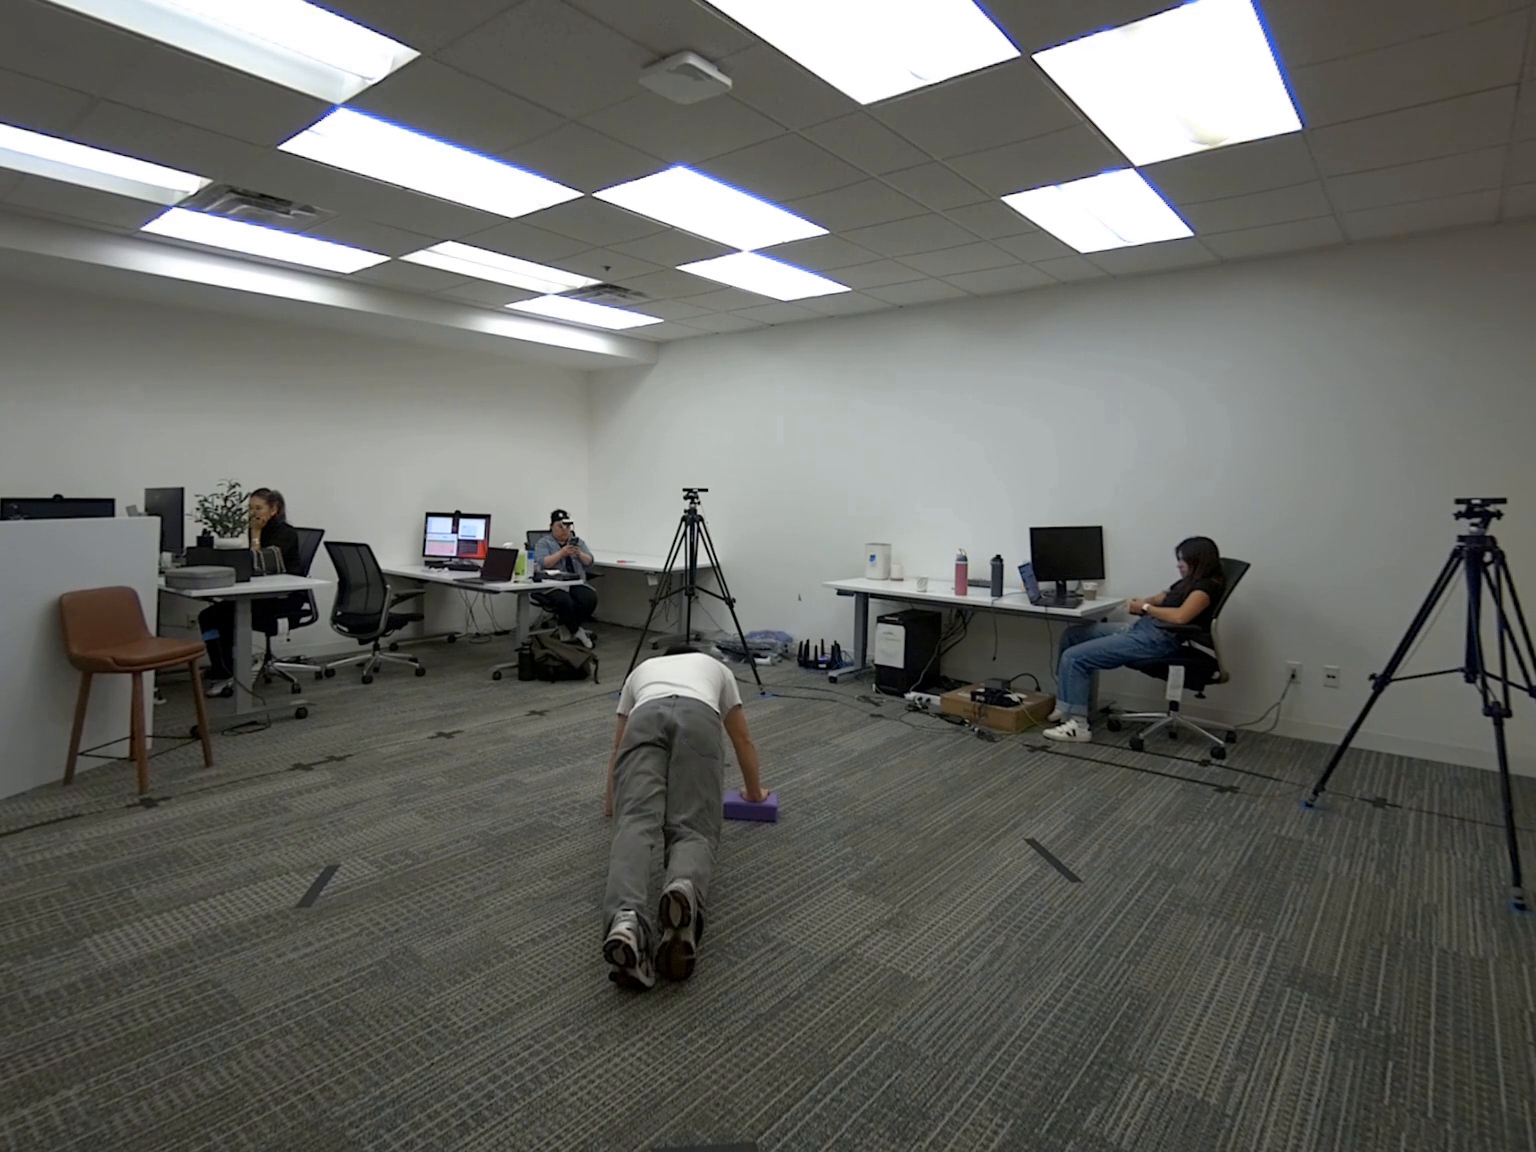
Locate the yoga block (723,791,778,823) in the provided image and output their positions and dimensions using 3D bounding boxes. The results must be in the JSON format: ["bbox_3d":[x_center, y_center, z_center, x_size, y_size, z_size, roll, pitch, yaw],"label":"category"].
[{"bbox_3d":[-0.071,0.980,3.648,0.231,0.076,0.148,1,6,7],"label":"yoga block"}]
